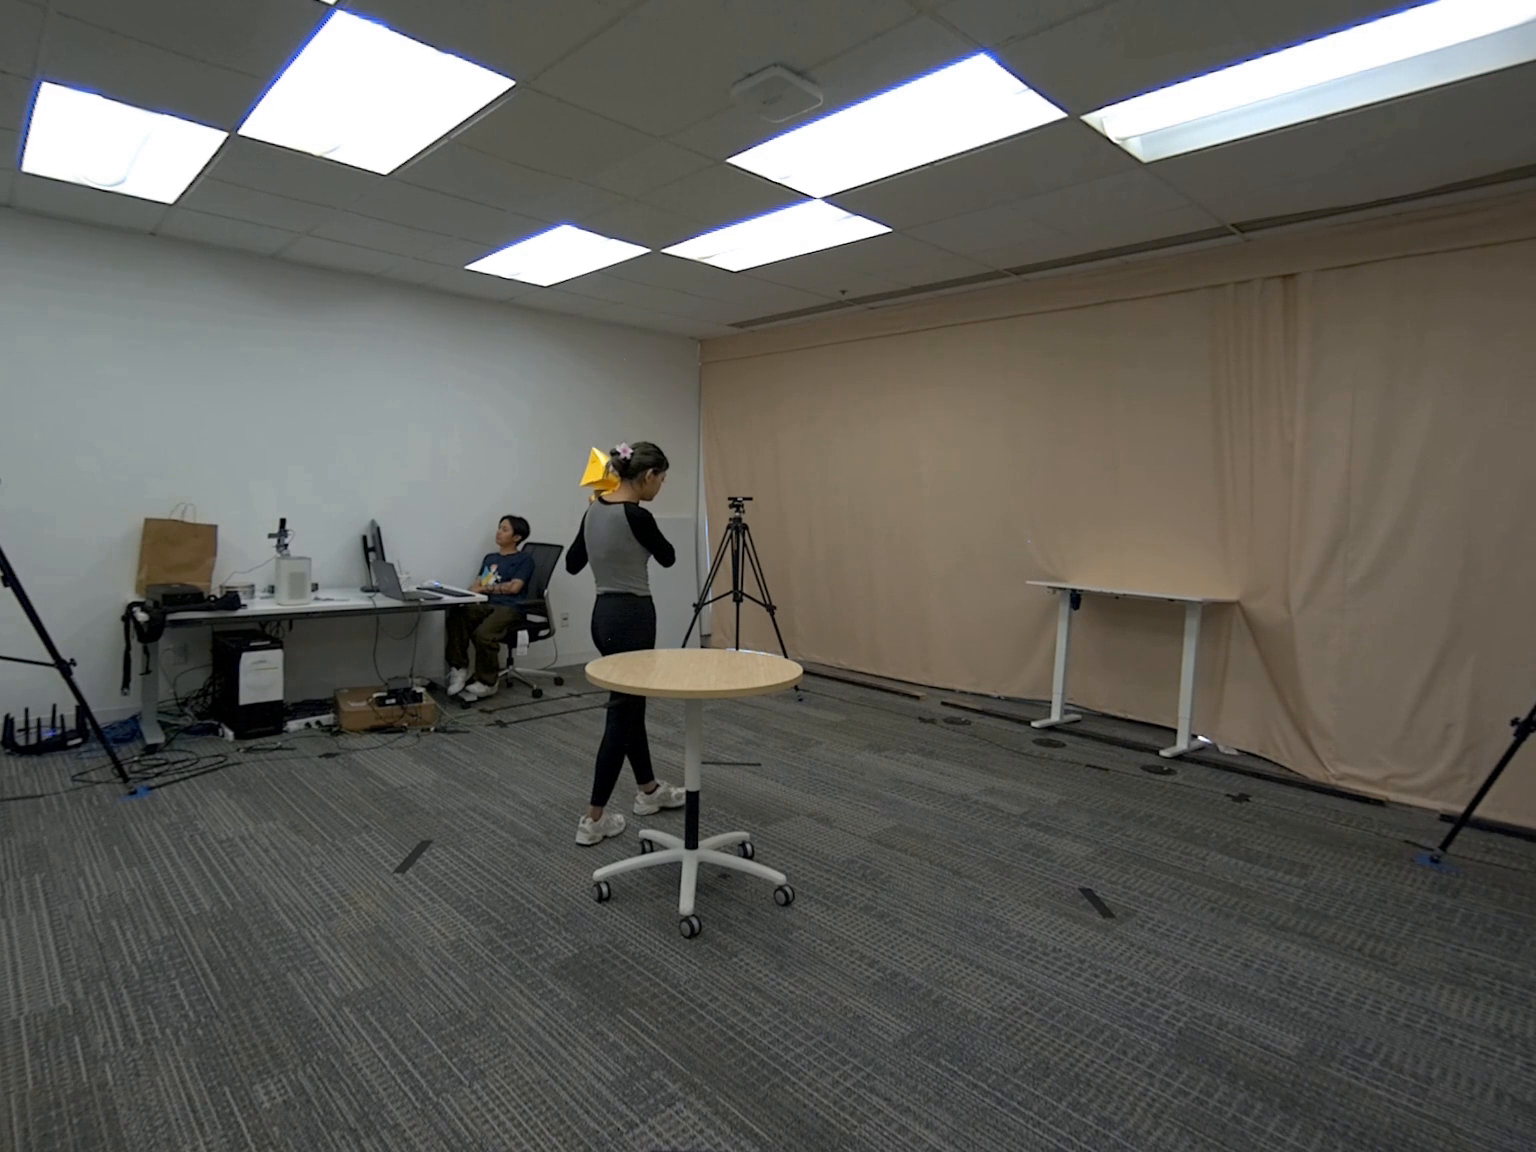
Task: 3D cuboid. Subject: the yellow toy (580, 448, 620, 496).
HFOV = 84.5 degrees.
[{"bbox_3d":[-0.697,-0.447,3.655,0.189,0.231,0.208,-8,-2,-38],"label":"yellow toy"}]
